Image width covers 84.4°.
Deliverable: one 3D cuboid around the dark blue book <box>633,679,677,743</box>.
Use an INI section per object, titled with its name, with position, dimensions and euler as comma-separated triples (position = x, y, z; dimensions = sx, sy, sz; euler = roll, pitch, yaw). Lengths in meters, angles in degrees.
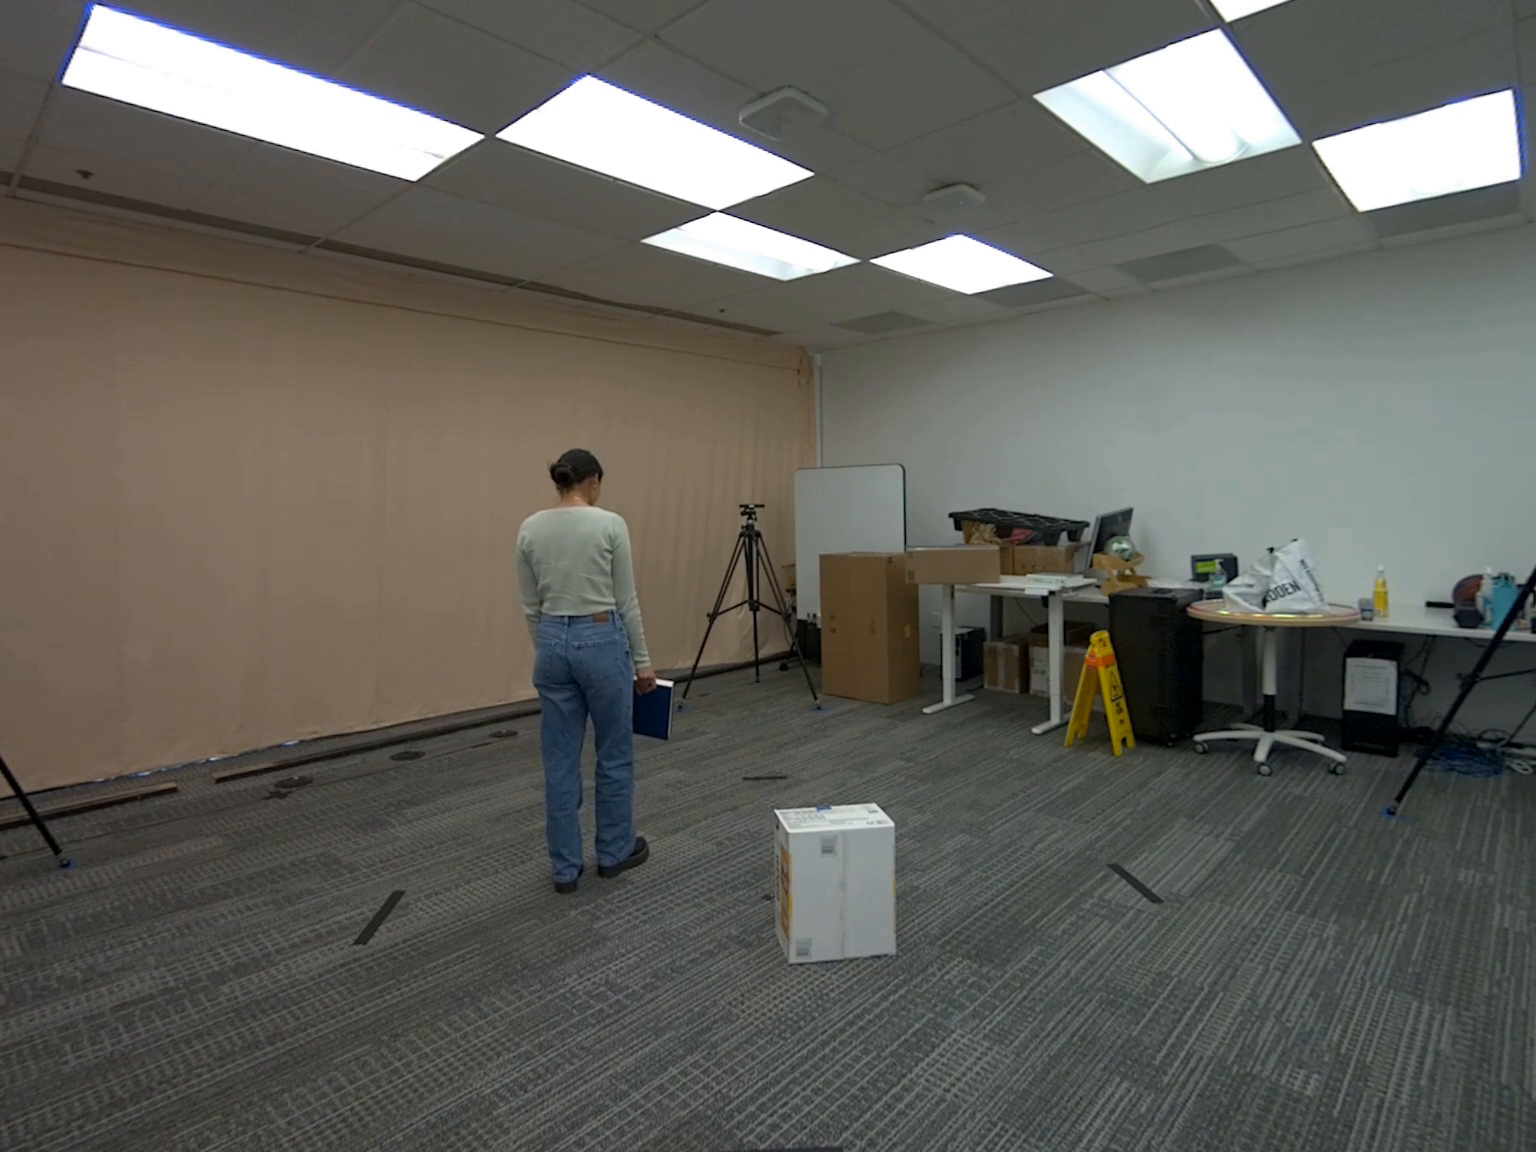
[dark blue book]
position = -0.448, 0.516, 3.262
dimensions = 0.163, 0.243, 0.046
euler = 6, 20, -2
